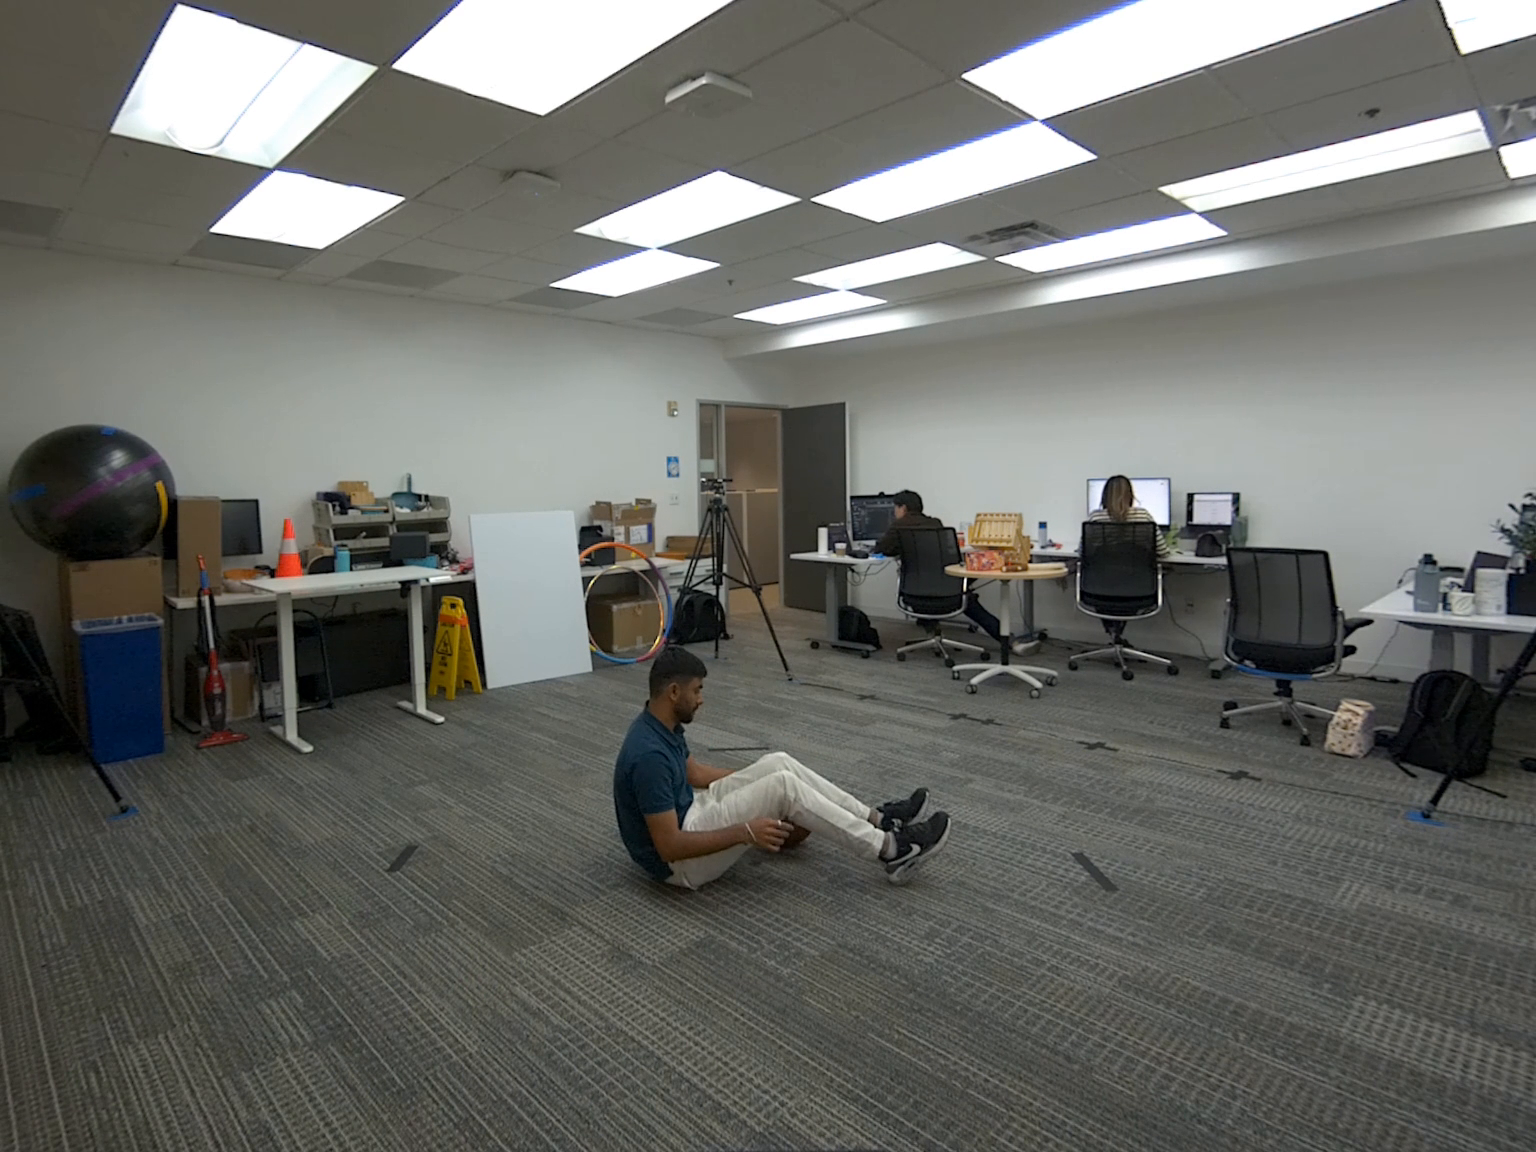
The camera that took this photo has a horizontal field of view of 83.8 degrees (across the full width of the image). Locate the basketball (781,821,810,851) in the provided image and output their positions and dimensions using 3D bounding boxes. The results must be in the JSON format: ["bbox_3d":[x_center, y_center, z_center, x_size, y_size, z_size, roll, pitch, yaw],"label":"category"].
[{"bbox_3d":[0.074,0.897,3.266,0.236,0.235,0.237,-1,5,-2],"label":"basketball"}]
